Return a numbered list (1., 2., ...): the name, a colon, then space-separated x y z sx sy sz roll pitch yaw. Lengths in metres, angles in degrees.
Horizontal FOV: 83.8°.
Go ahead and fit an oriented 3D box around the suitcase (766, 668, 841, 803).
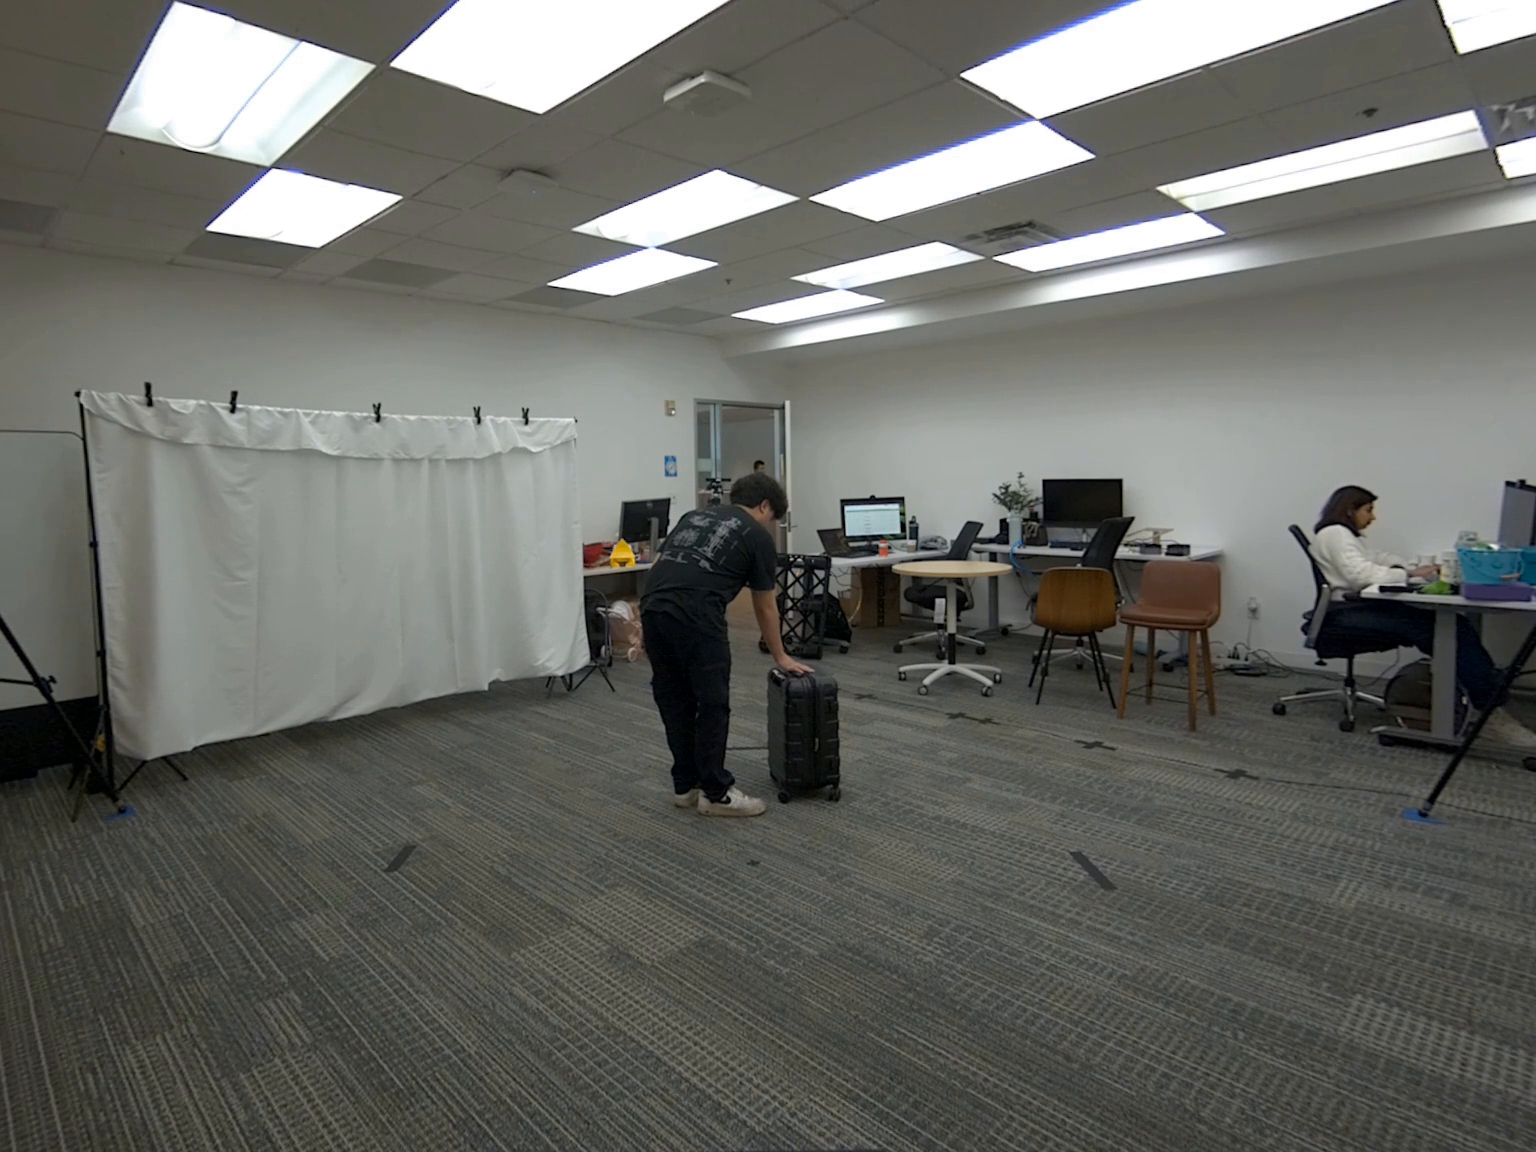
1. suitcase: 0.152 0.679 3.830 0.246 0.547 0.381 -1 4 -12
